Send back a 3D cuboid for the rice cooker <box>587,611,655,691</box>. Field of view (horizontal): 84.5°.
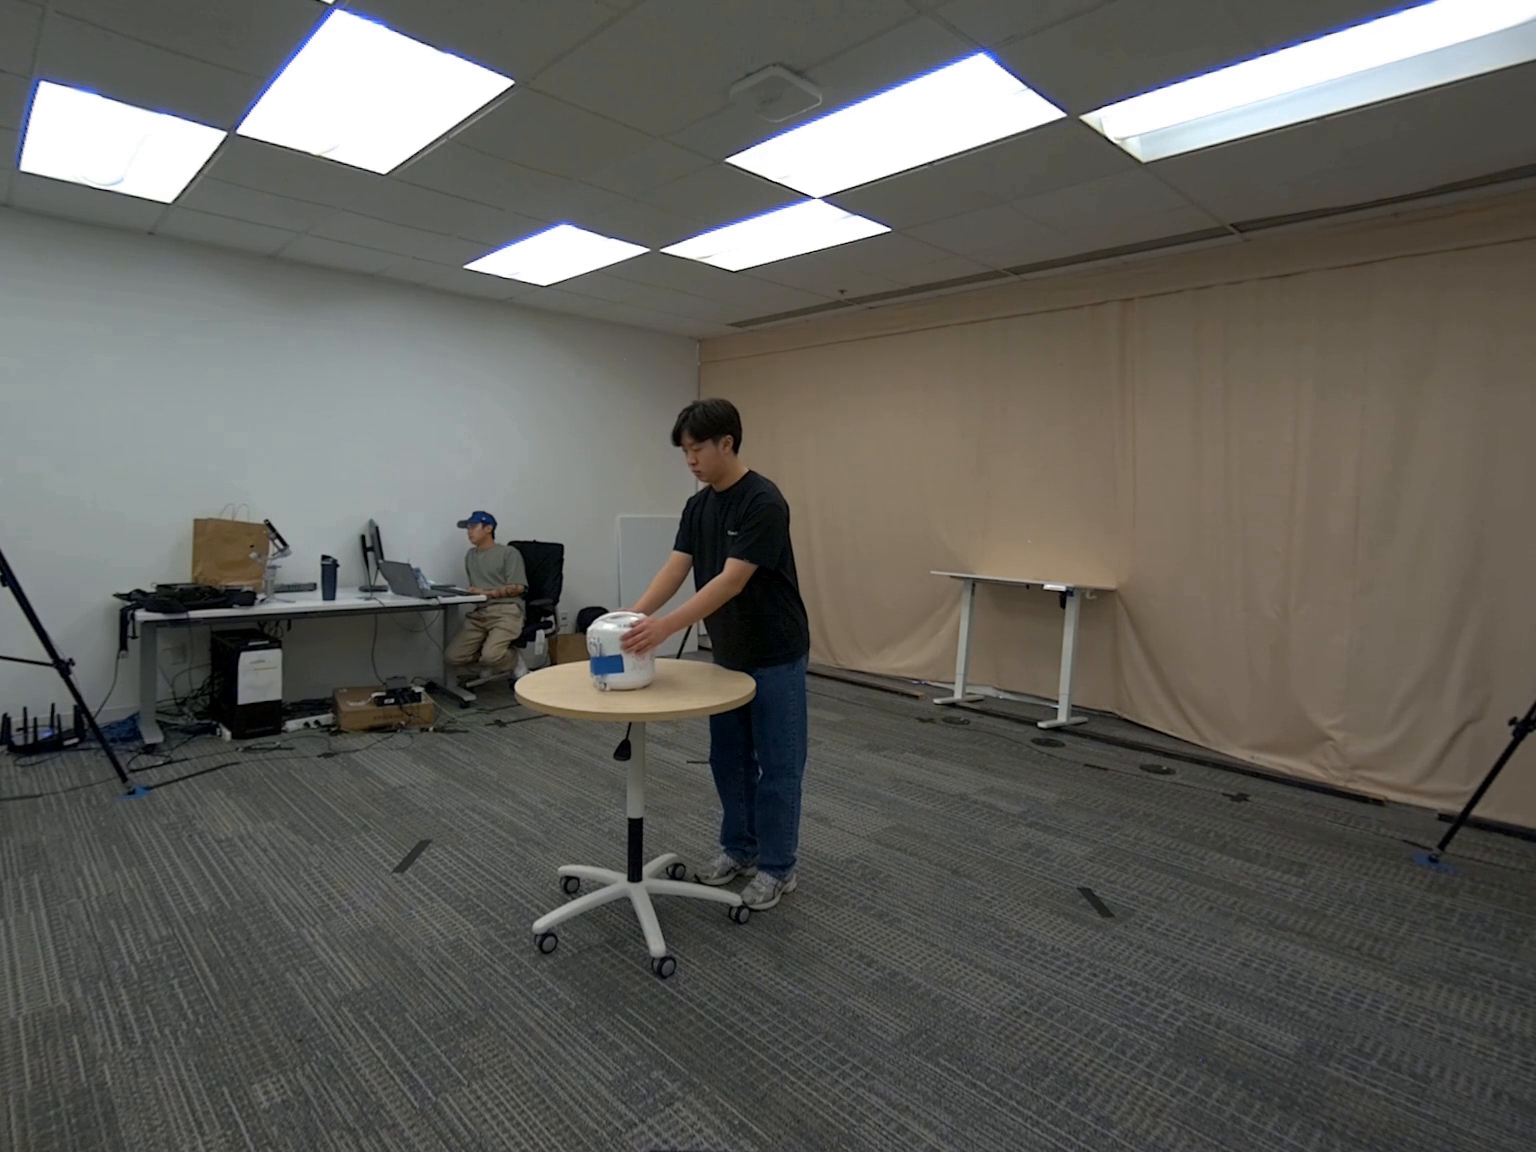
[{"bbox_3d":[-0.465,0.230,2.658,0.218,0.232,0.220,2,4,-12],"label":"rice cooker"}]
